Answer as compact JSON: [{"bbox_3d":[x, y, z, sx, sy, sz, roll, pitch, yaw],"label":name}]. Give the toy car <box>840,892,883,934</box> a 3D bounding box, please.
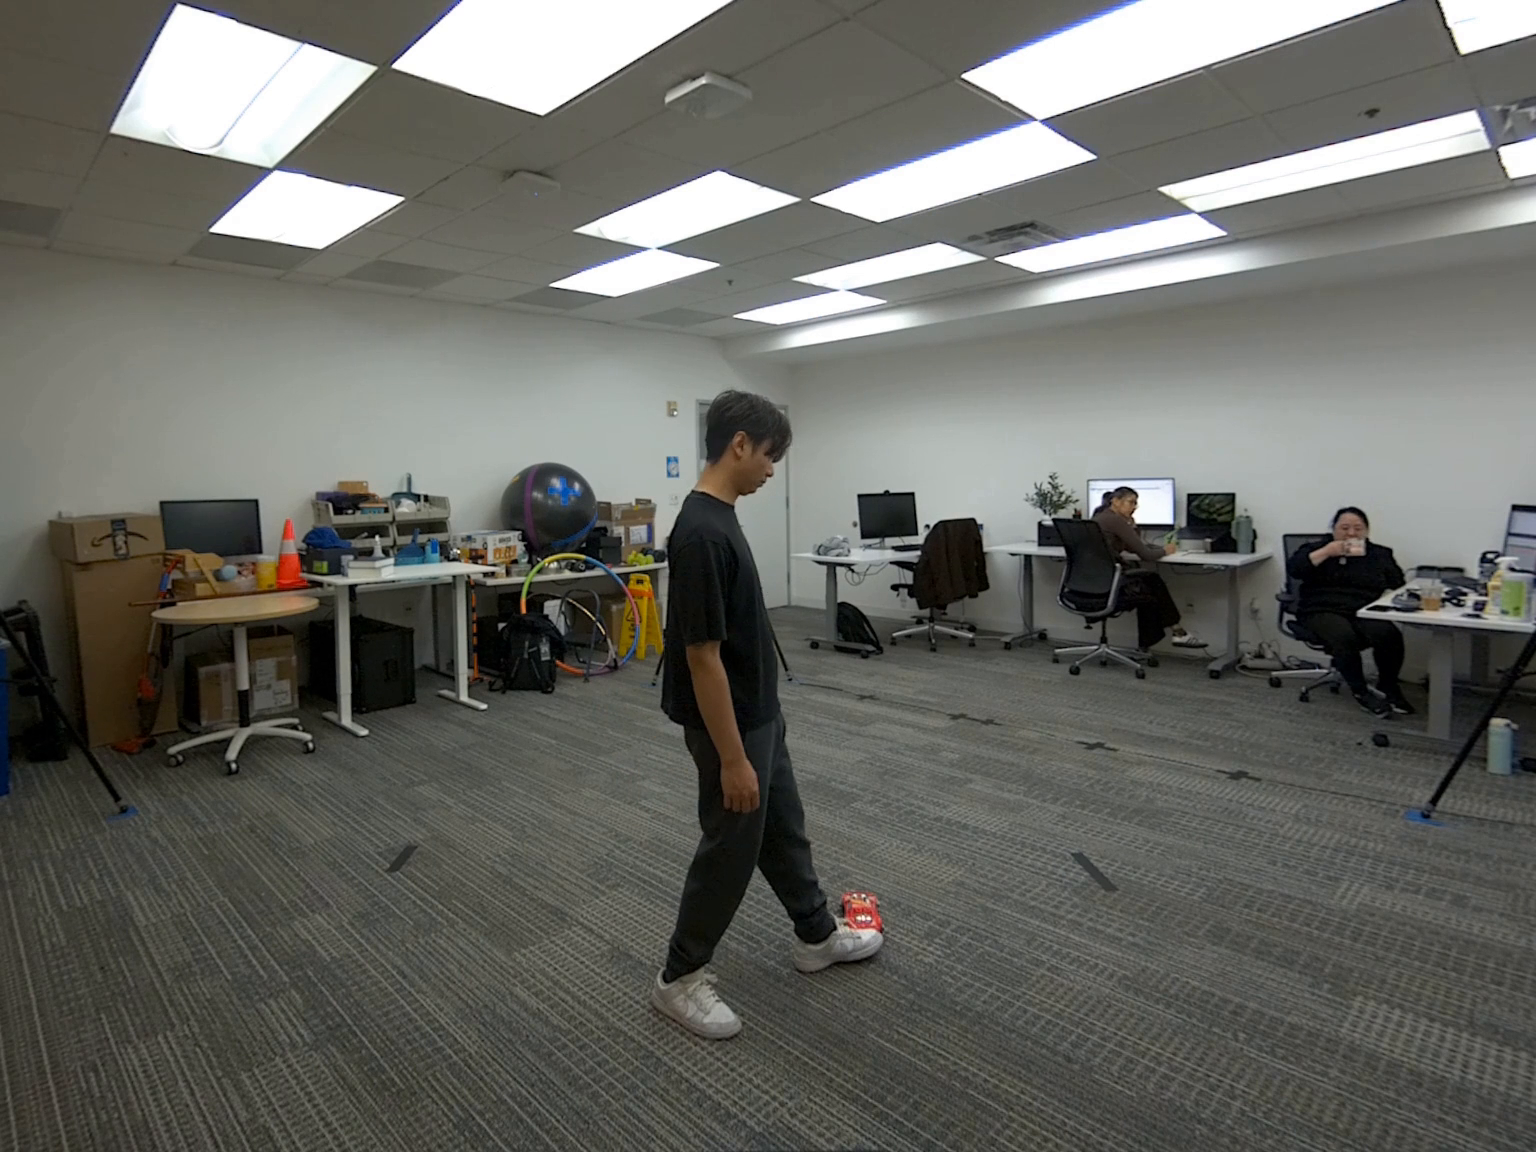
[{"bbox_3d":[0.296,1.059,2.653,0.131,0.084,0.252,-1,-5,3],"label":"toy car"}]
